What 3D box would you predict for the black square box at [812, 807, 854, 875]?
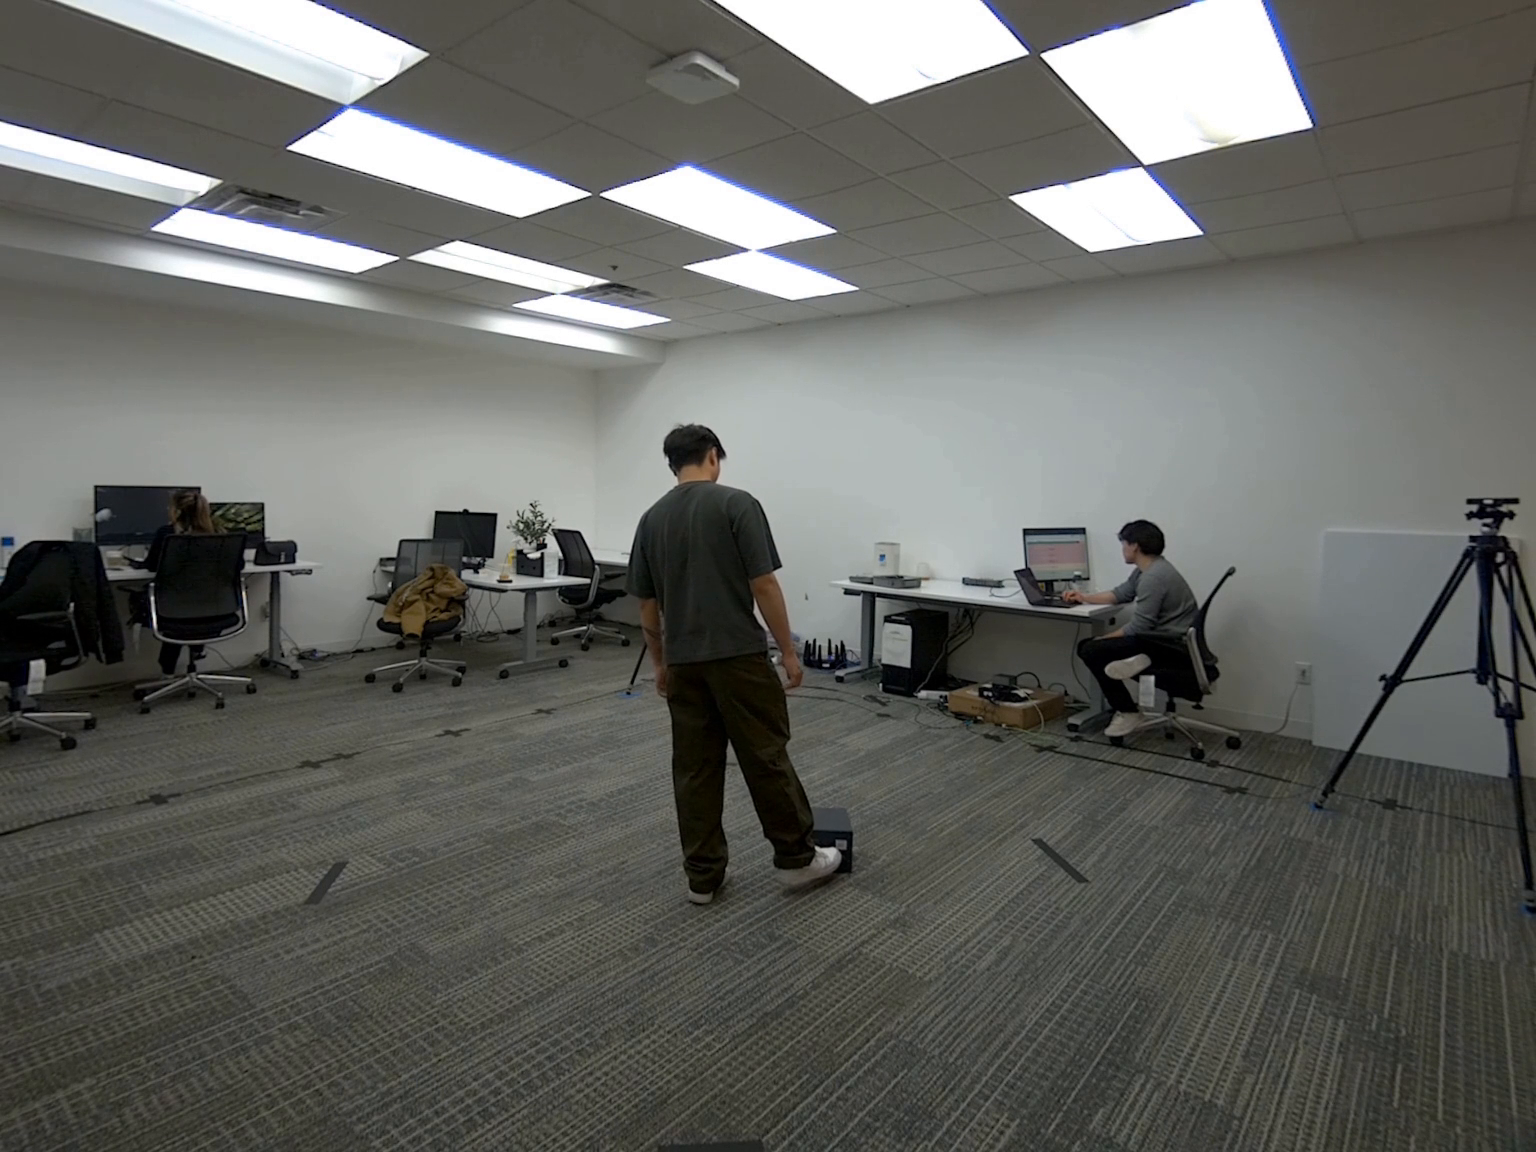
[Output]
[{"bbox_3d":[0.190,0.979,3.209,0.217,0.155,0.228,2,5,0],"label":"black square box"}]
